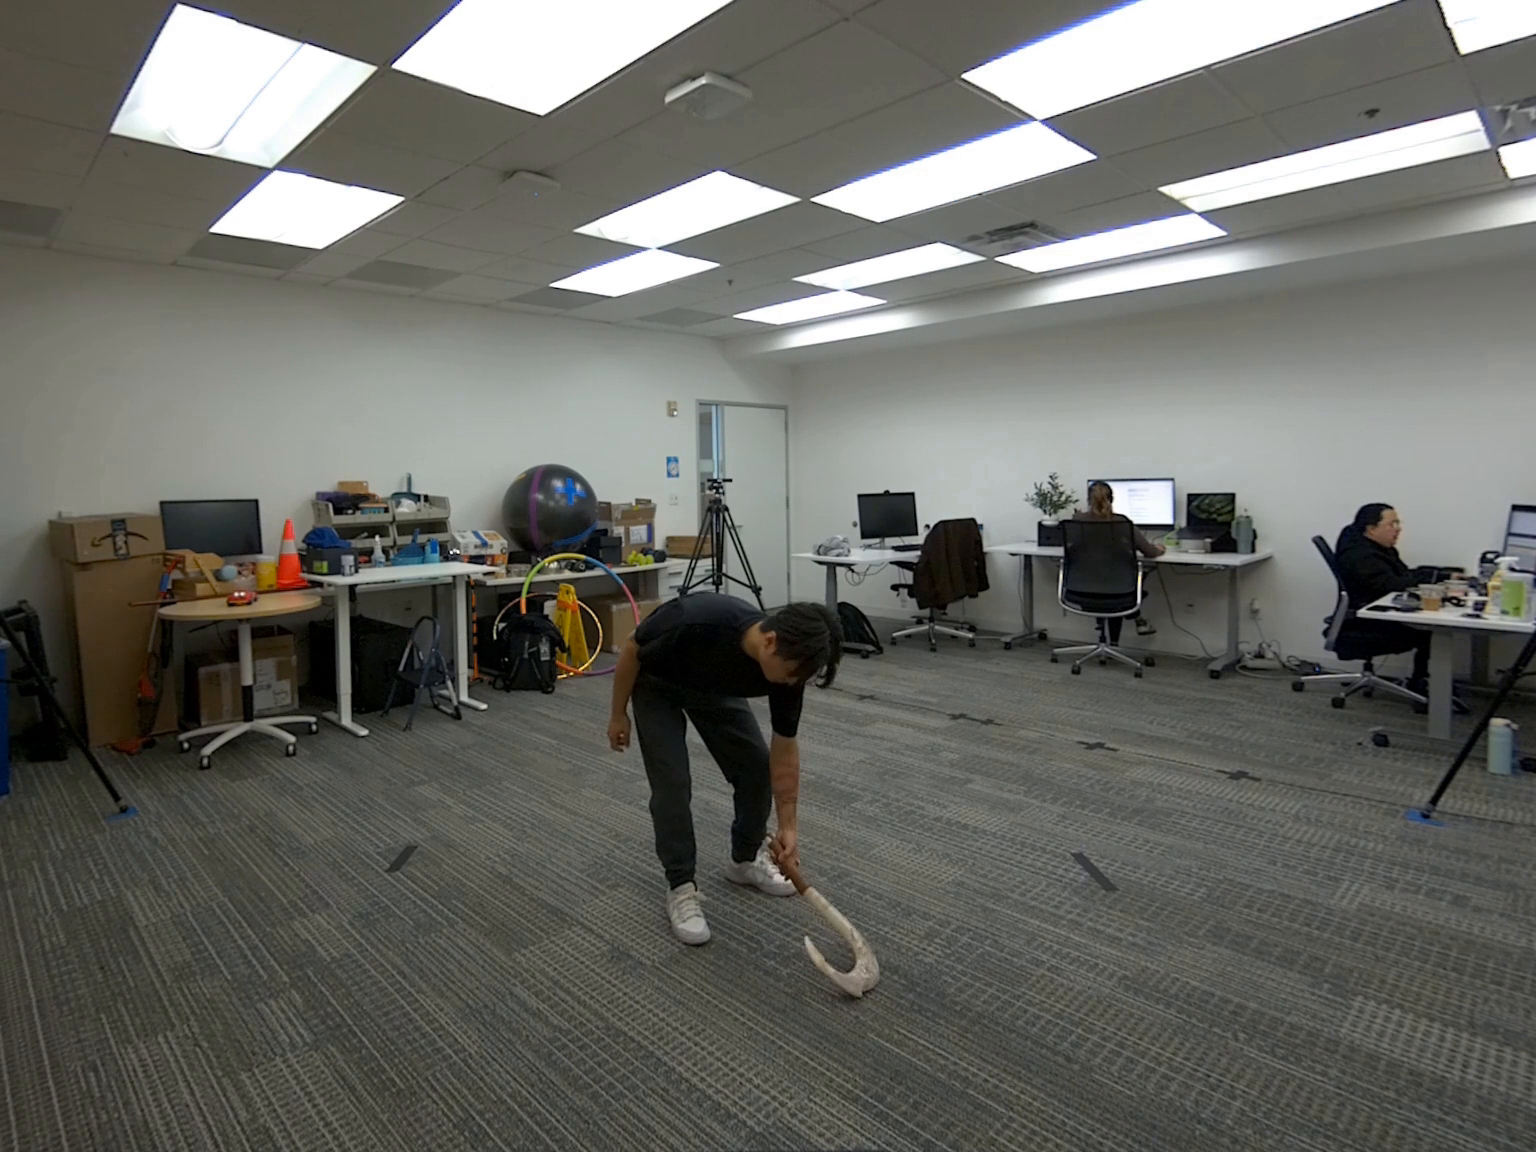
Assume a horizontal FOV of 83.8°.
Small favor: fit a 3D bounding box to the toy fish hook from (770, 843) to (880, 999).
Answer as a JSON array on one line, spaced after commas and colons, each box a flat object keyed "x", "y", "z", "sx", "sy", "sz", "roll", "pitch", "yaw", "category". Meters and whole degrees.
[{"x": 0.118, "y": 0.959, "z": 2.454, "sx": 0.217, "sy": 0.048, "sz": 0.525, "roll": 5, "pitch": 33, "yaw": -50, "category": "toy fish hook"}]
